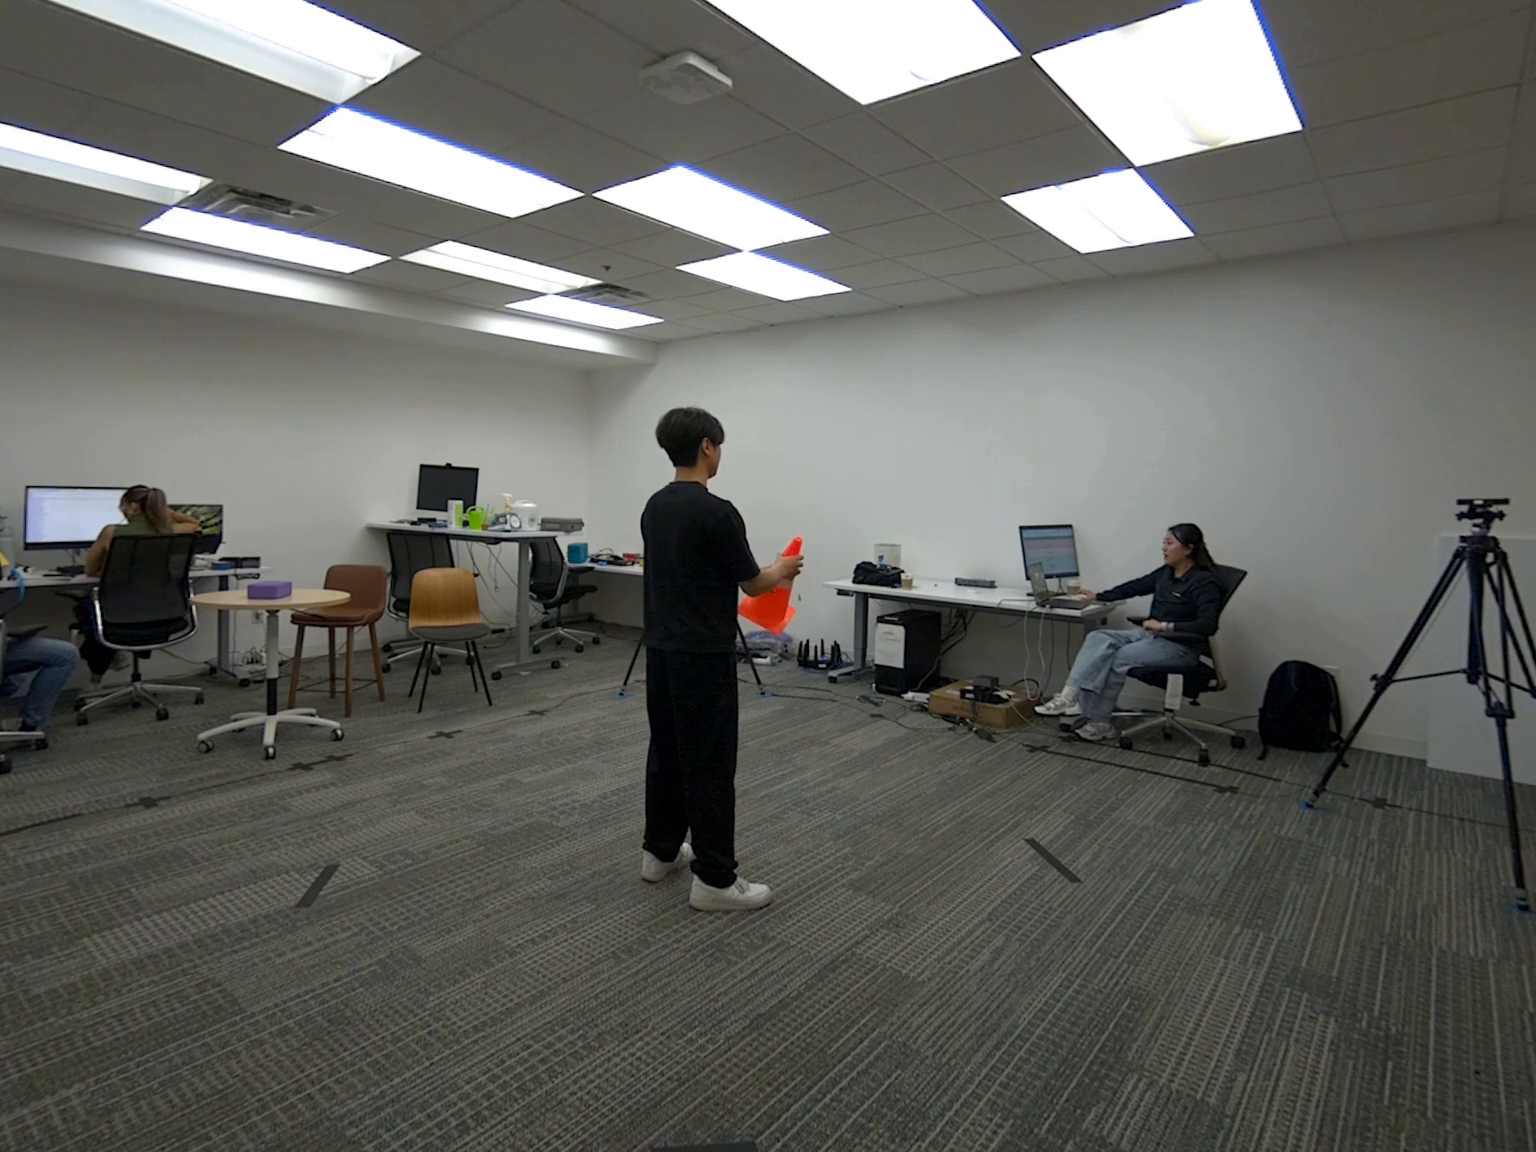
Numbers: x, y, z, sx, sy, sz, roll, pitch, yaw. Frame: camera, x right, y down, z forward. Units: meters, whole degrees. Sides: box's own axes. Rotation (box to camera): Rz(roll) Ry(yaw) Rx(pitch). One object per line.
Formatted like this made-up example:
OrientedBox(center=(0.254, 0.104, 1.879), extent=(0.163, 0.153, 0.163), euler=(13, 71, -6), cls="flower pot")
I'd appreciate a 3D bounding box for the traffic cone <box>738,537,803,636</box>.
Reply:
OrientedBox(center=(0.053, -0.001, 3.249), extent=(0.207, 0.378, 0.204), euler=(31, 36, 10), cls="traffic cone")
